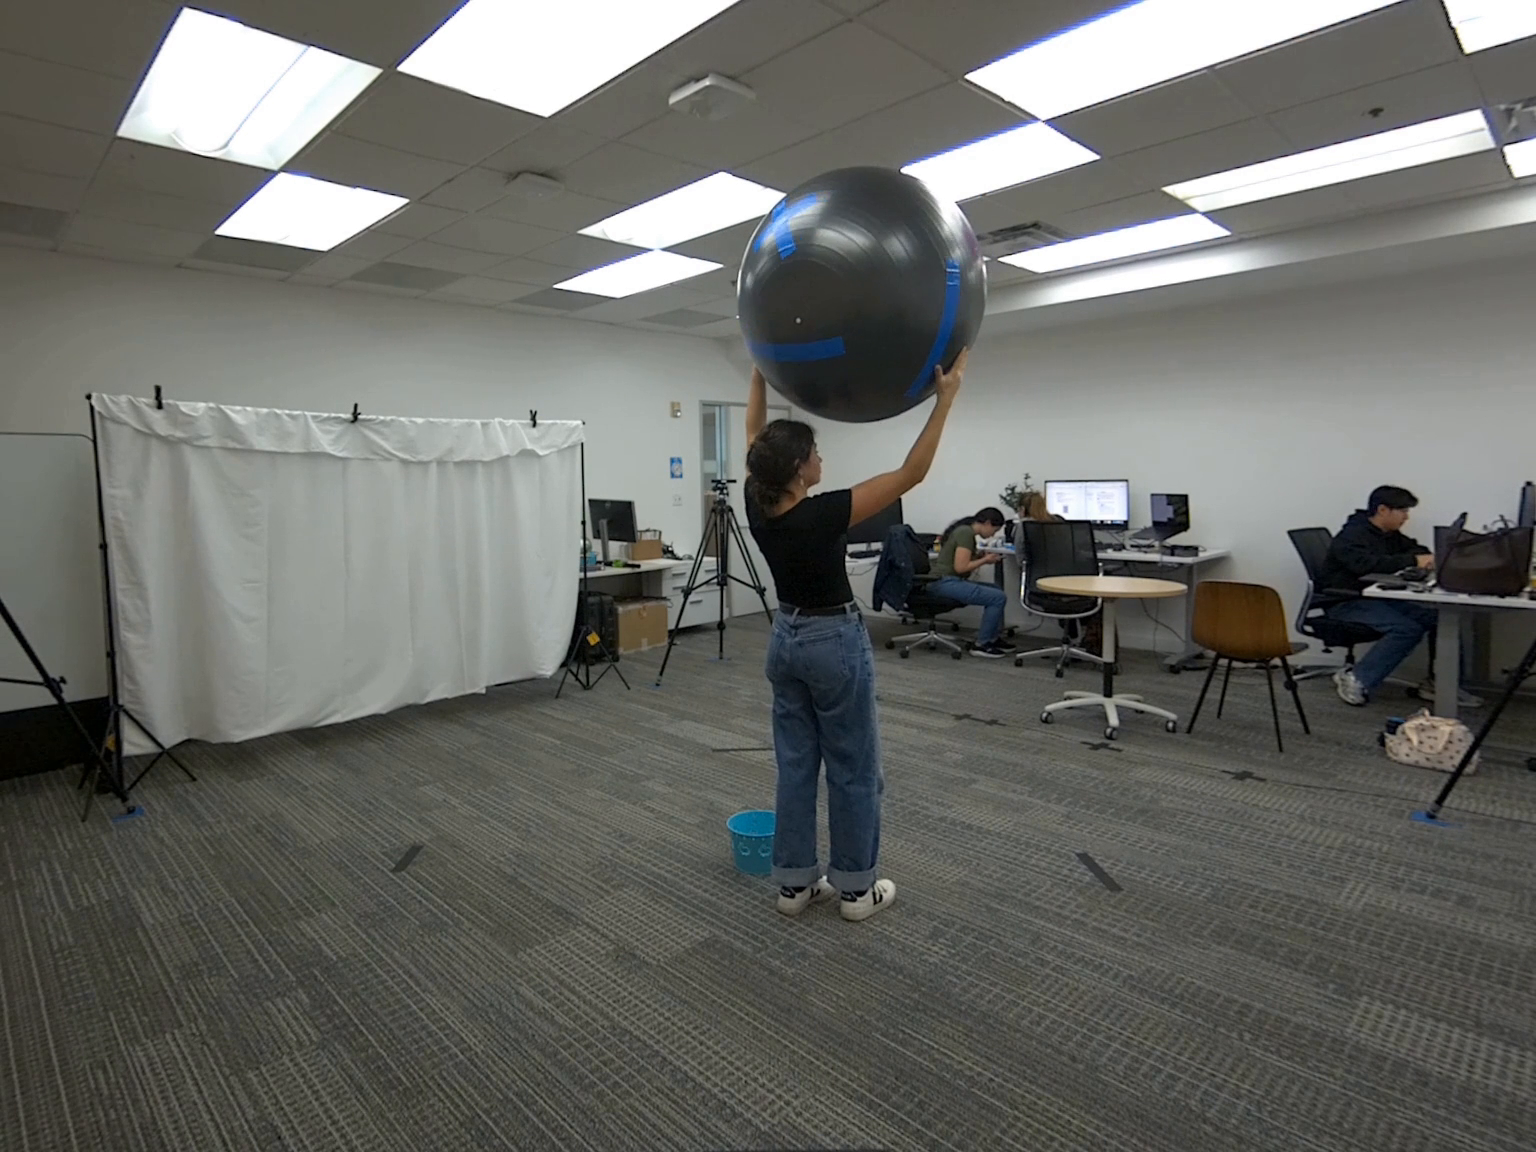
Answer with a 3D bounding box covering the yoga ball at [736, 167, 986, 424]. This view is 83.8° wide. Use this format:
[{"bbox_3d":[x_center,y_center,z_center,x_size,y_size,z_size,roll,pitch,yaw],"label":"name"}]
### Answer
[{"bbox_3d":[0.285,-0.852,2.645,0.757,0.755,0.762,-1,5,-2],"label":"yoga ball"}]
